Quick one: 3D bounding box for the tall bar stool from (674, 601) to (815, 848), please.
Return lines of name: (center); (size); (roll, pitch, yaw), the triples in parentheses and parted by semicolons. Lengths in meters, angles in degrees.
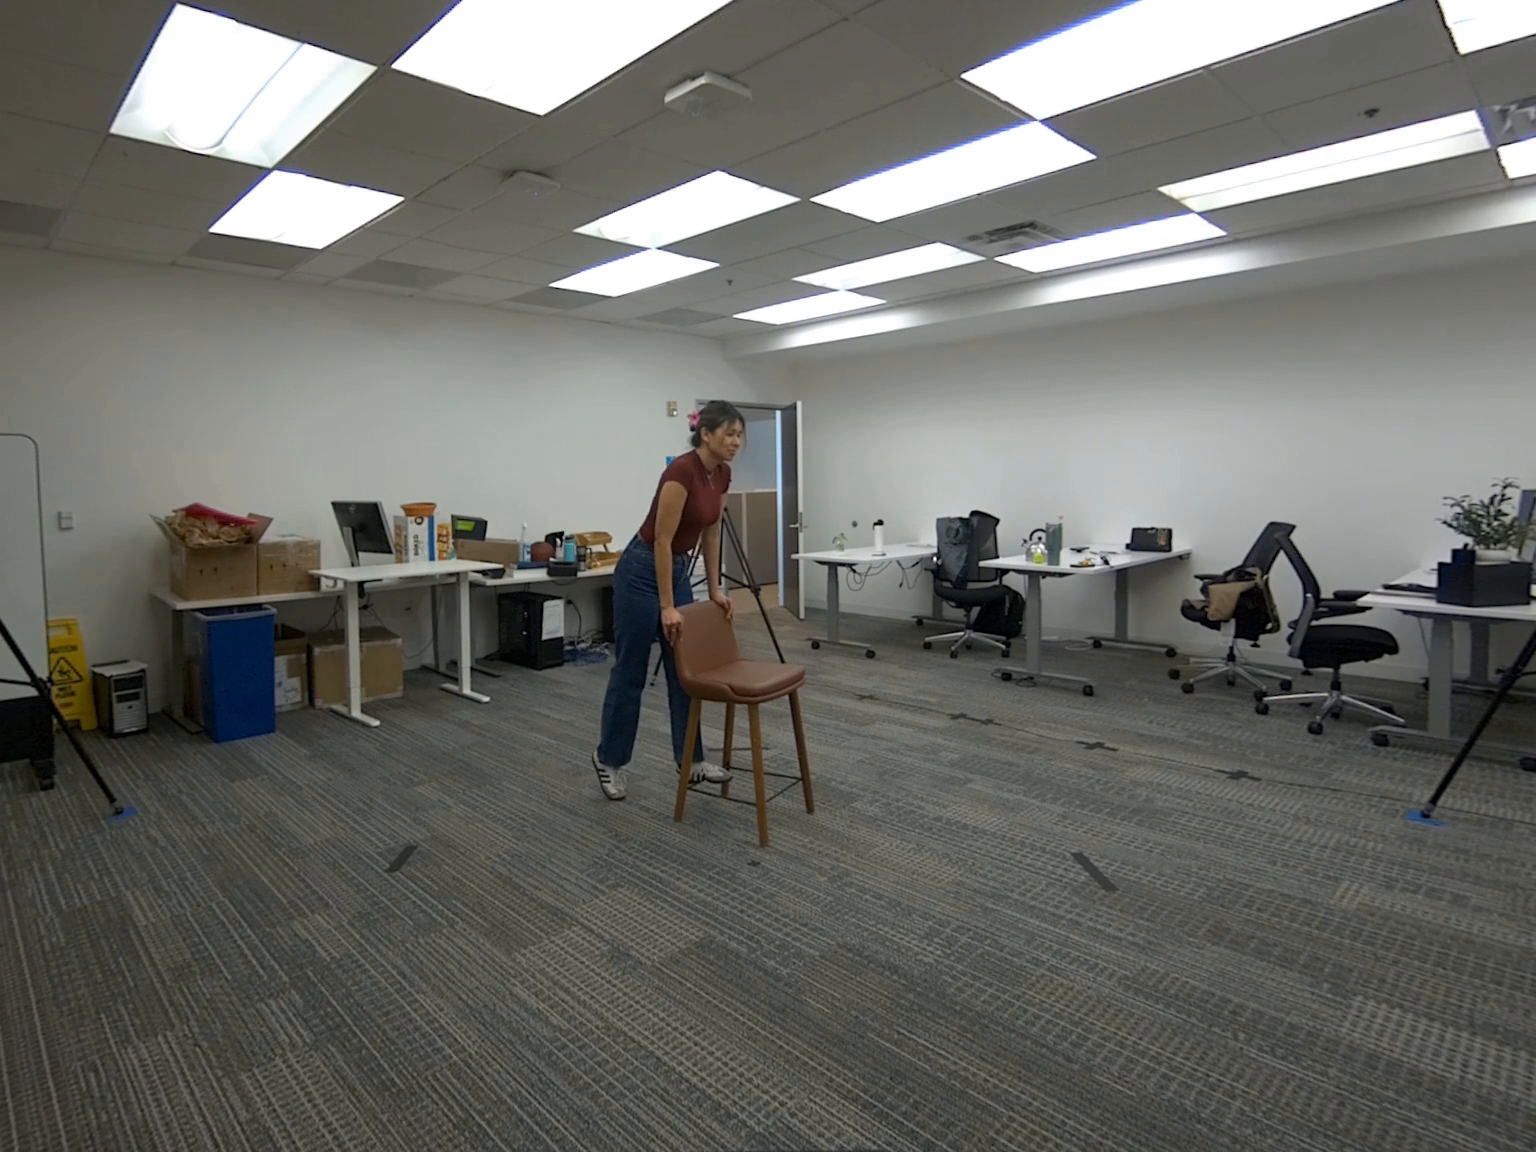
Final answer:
tall bar stool: (-0.115, 0.561, 3.513); (0.480, 0.888, 0.445); (-1, 2, 33)
